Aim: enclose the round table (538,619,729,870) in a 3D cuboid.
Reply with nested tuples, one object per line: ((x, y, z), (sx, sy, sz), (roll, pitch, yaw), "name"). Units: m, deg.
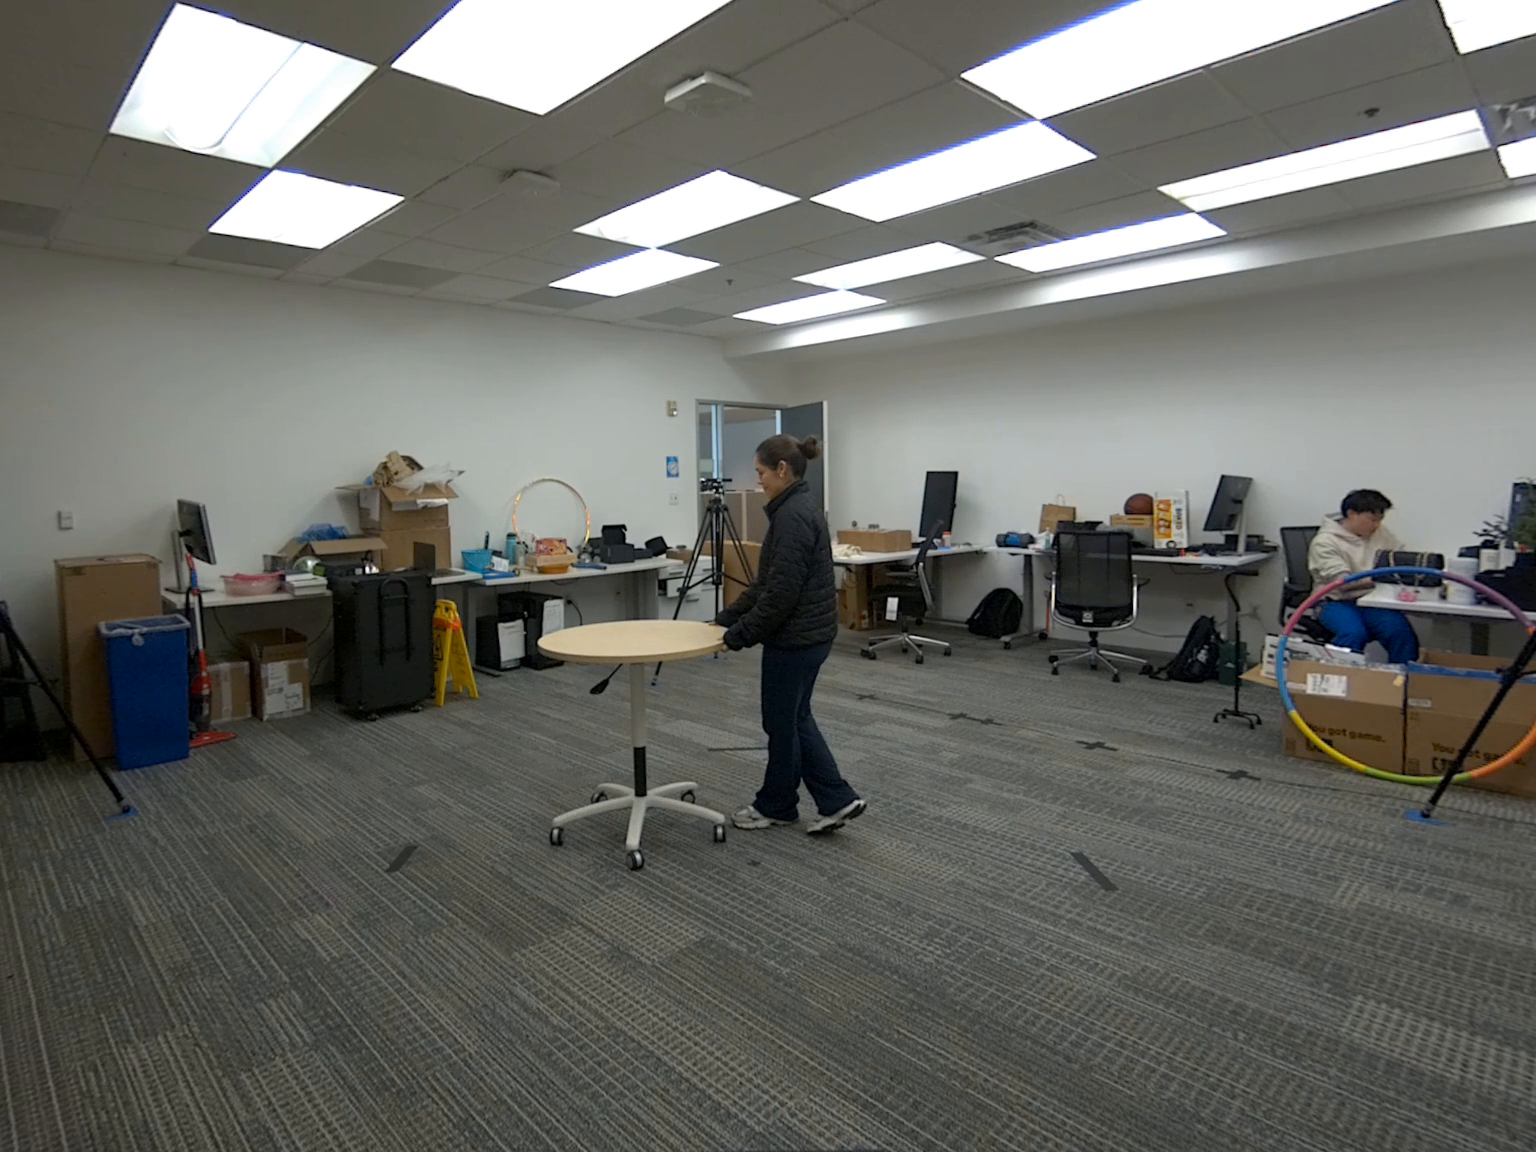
((-0.501, 0.625, 3.404), (0.784, 0.783, 0.789), (-2, 5, -2), "round table")
